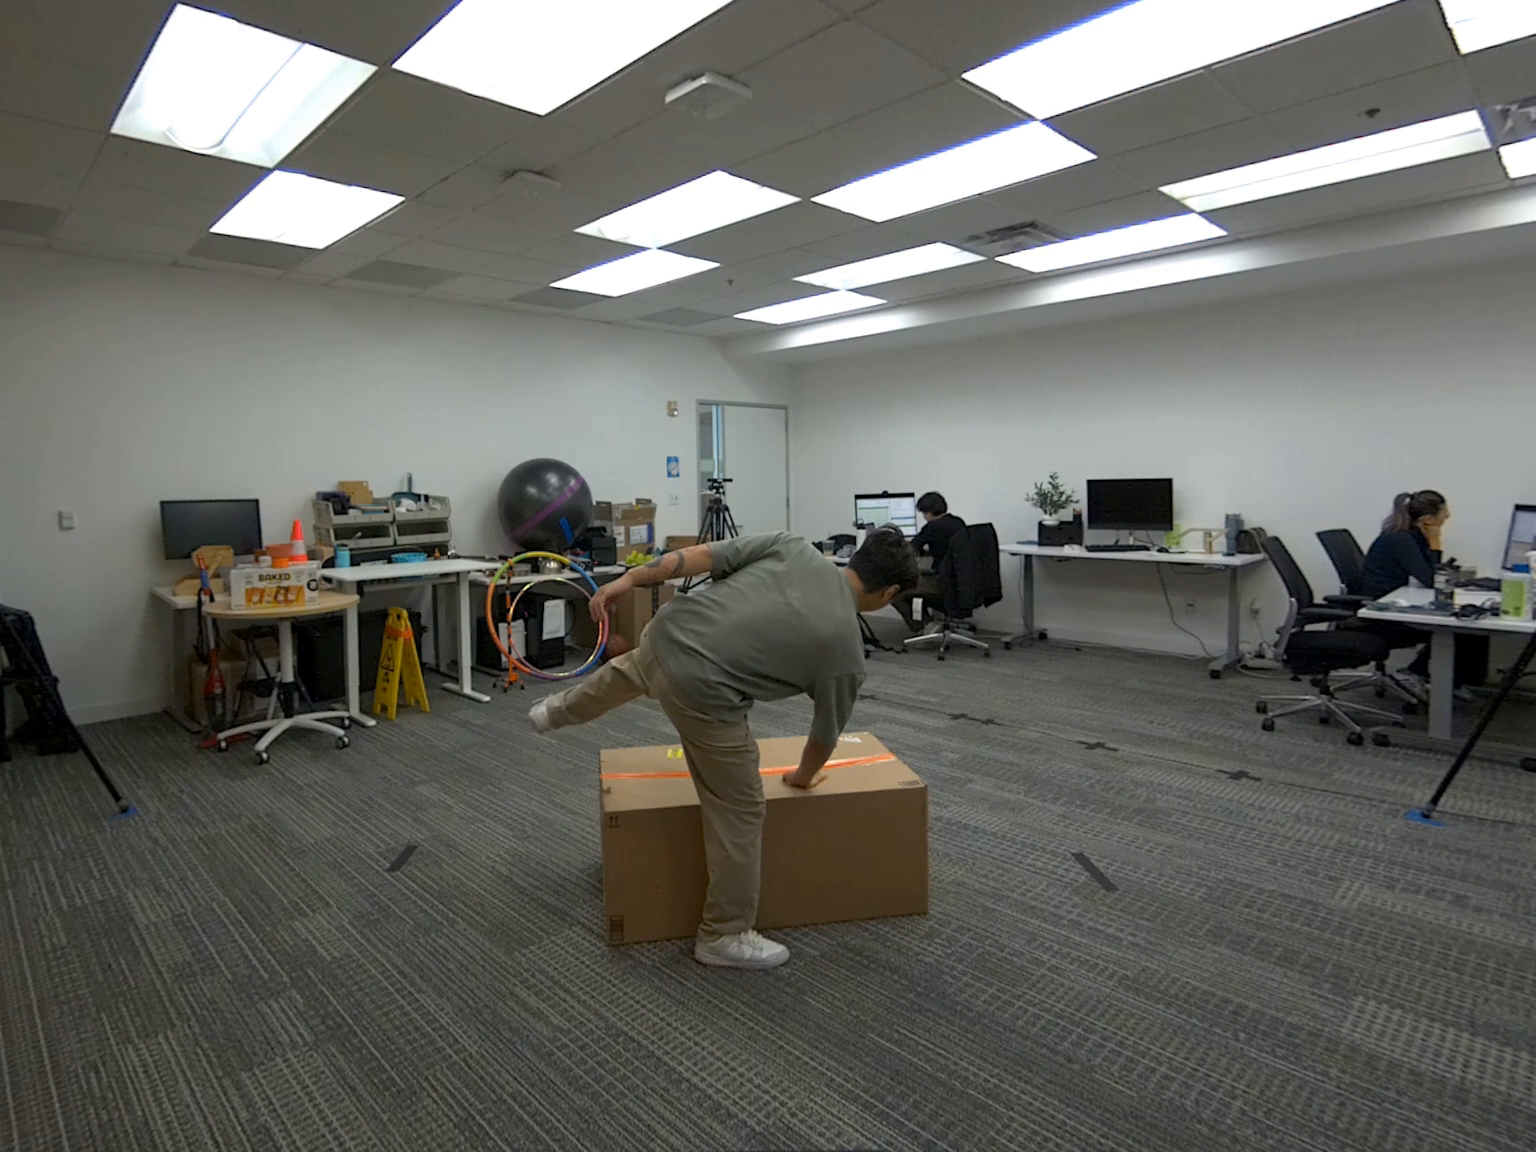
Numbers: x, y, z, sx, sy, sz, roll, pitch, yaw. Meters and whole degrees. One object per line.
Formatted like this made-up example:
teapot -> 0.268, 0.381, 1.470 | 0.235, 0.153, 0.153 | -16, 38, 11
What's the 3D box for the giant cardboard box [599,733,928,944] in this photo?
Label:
giant cardboard box -> -0.049, 0.853, 2.915 | 1.017, 0.424, 0.585 | -2, 6, -10
